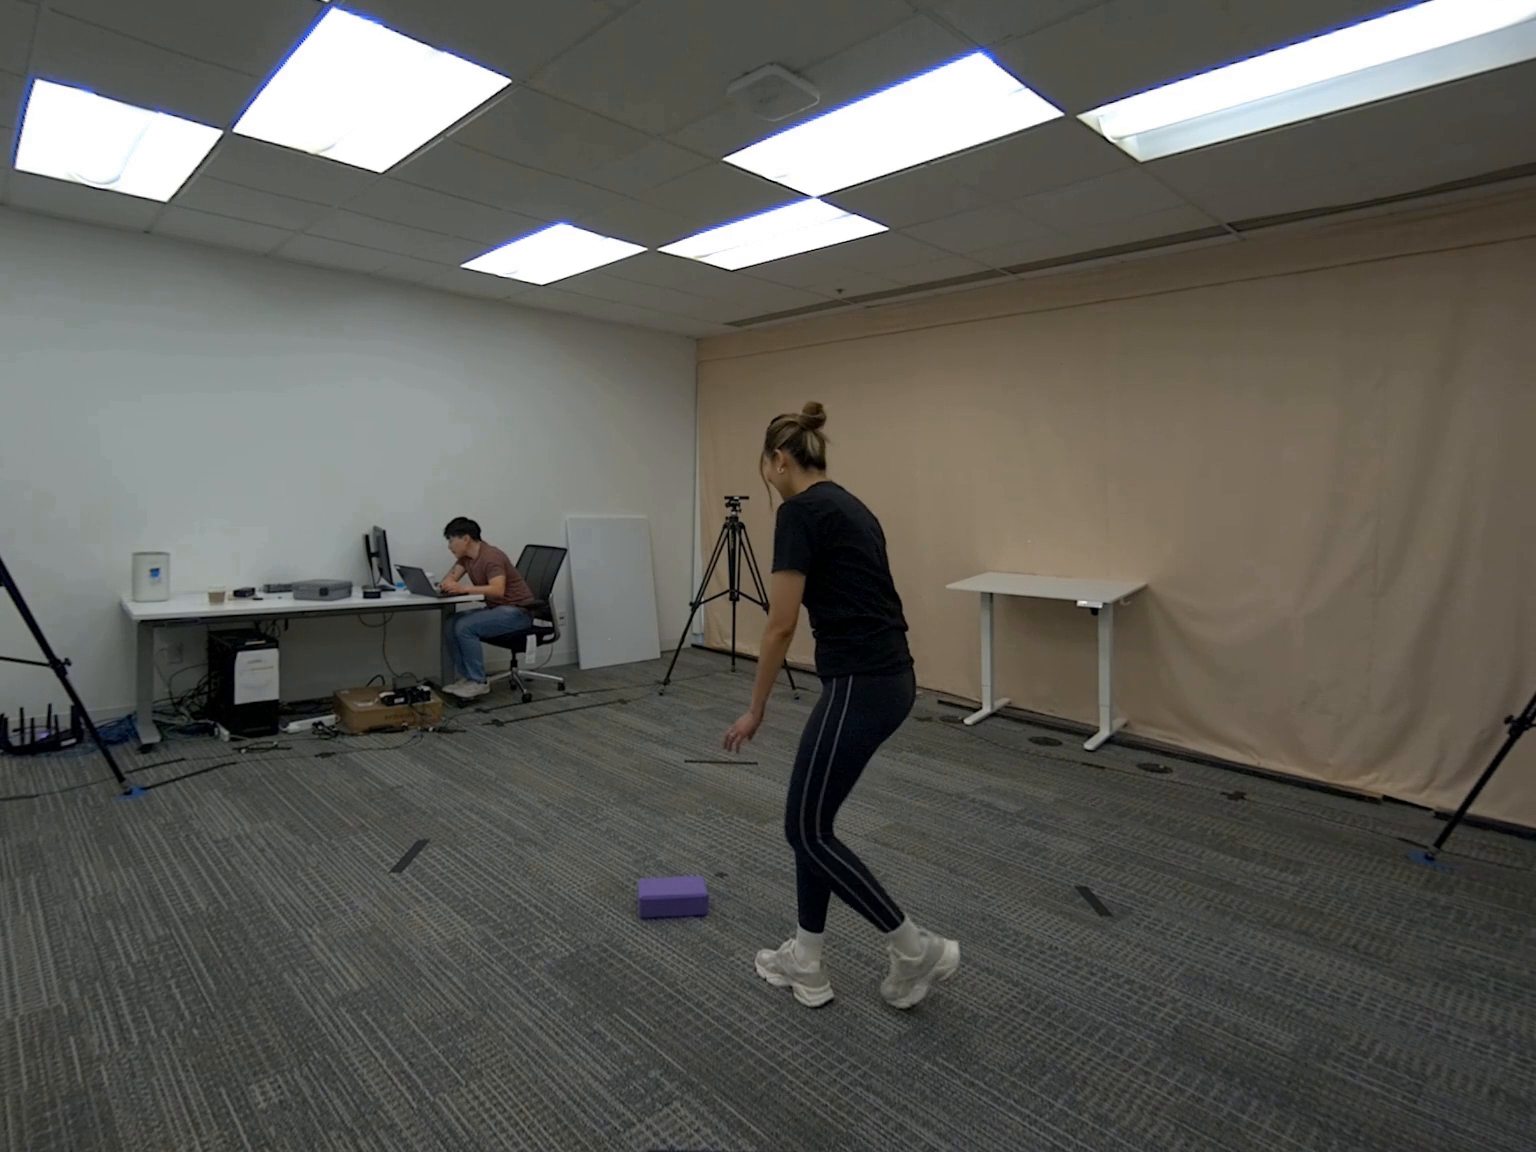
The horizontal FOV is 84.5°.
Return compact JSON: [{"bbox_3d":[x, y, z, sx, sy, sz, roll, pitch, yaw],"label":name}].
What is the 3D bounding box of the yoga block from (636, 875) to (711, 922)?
[{"bbox_3d":[-0.328,1.087,2.843,0.228,0.076,0.150,0,4,-9],"label":"yoga block"}]
